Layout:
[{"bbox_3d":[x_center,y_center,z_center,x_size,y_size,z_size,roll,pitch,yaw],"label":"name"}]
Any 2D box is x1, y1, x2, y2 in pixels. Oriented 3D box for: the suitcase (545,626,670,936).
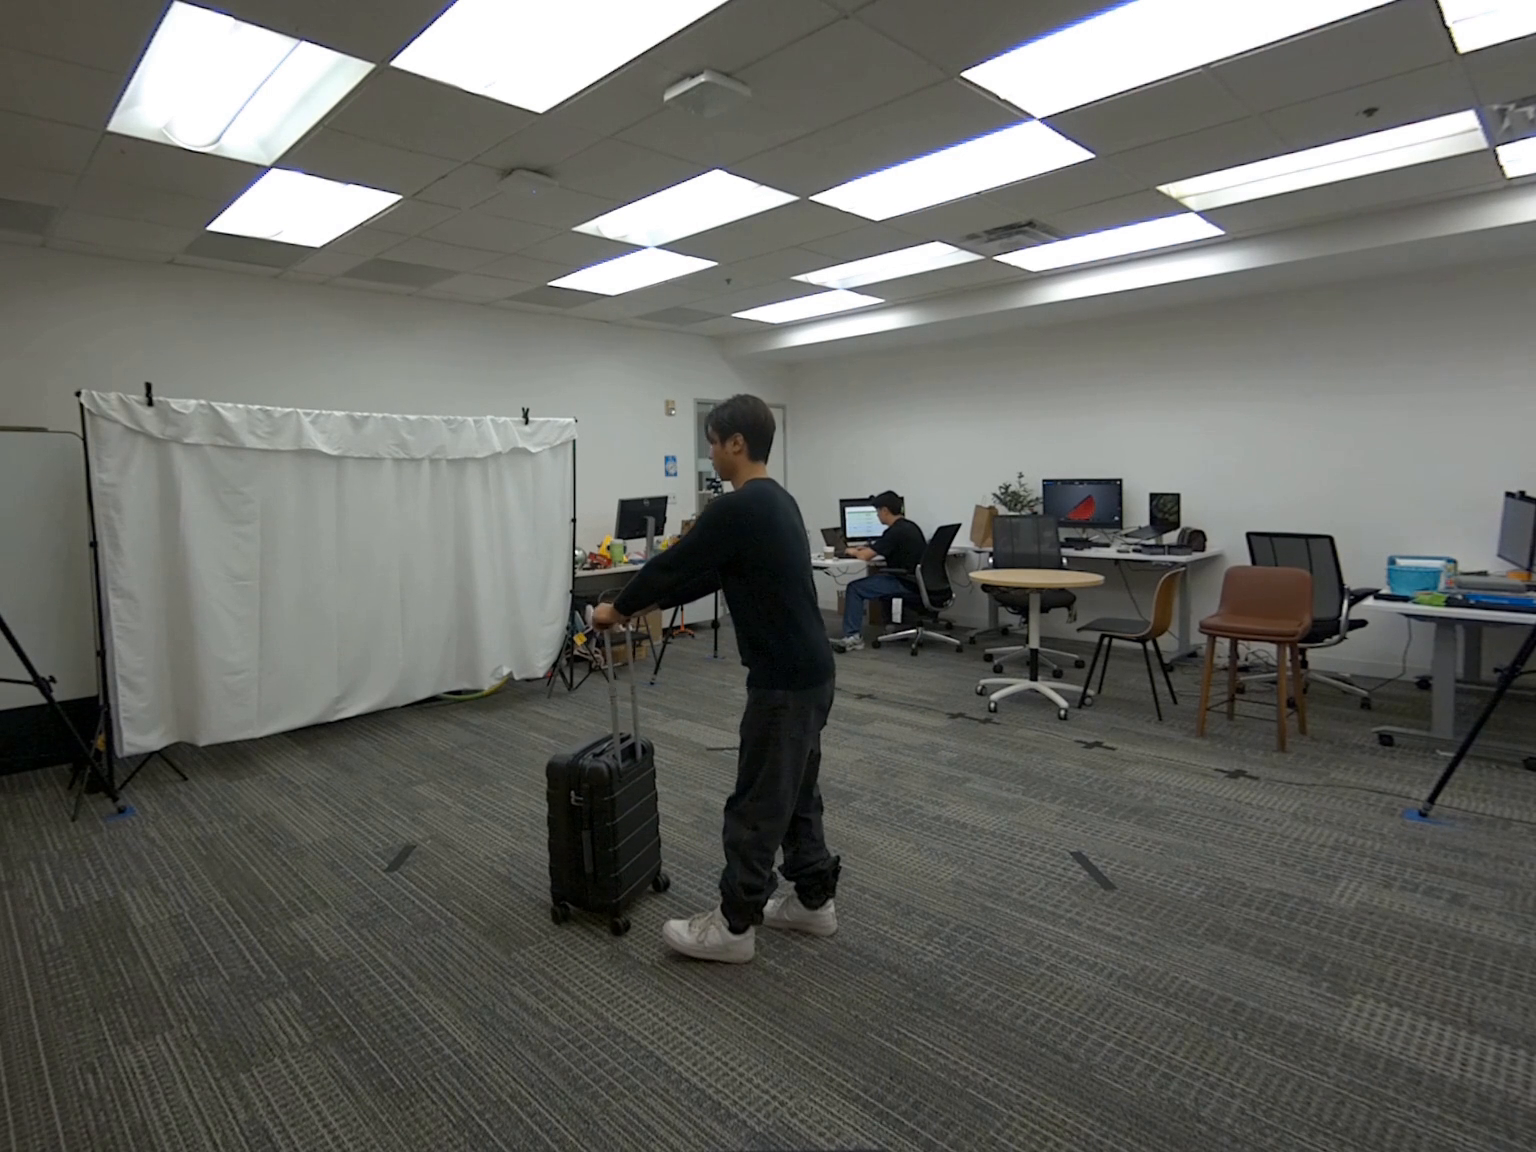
[{"bbox_3d":[-0.553,0.610,2.809,0.262,0.977,0.377,-3,2,21],"label":"suitcase"}]
